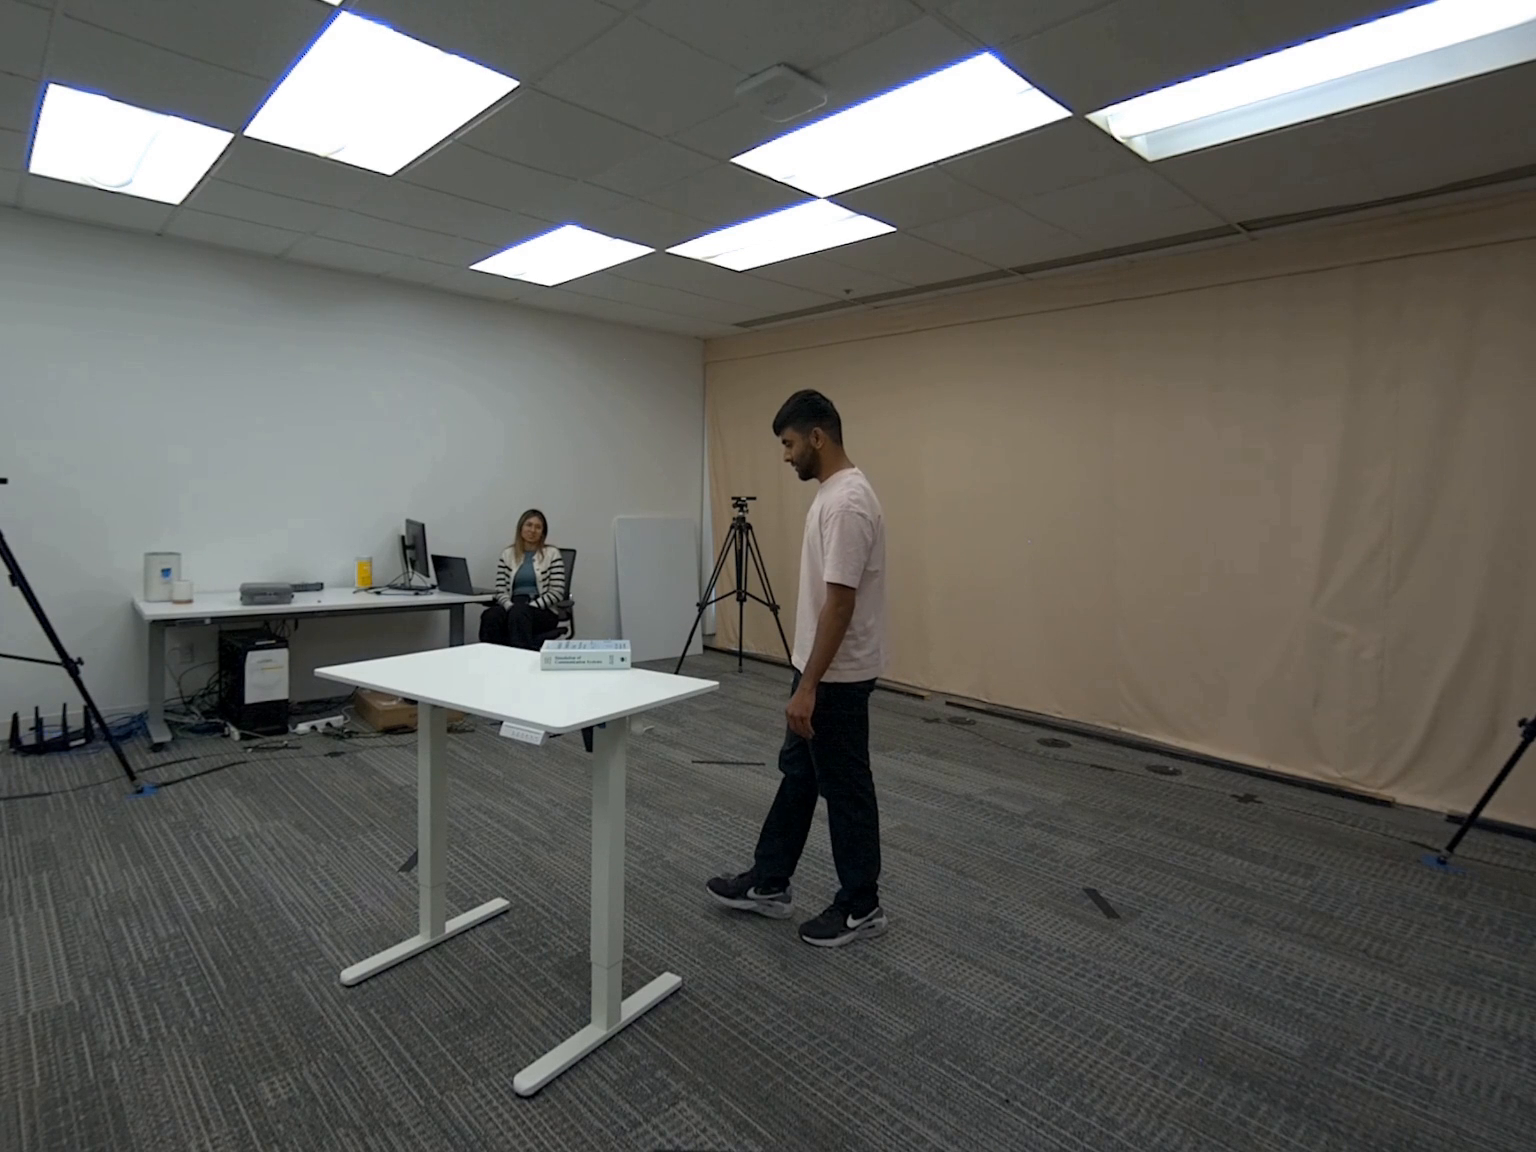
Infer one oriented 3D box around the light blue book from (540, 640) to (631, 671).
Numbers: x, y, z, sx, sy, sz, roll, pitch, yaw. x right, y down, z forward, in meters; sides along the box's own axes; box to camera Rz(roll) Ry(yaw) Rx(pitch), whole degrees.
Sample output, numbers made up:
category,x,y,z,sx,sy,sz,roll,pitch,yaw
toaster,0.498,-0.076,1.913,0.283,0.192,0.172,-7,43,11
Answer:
category,x,y,z,sx,sy,sz,roll,pitch,yaw
light blue book,-0.553,0.242,2.518,0.259,0.059,0.193,0,6,-10
